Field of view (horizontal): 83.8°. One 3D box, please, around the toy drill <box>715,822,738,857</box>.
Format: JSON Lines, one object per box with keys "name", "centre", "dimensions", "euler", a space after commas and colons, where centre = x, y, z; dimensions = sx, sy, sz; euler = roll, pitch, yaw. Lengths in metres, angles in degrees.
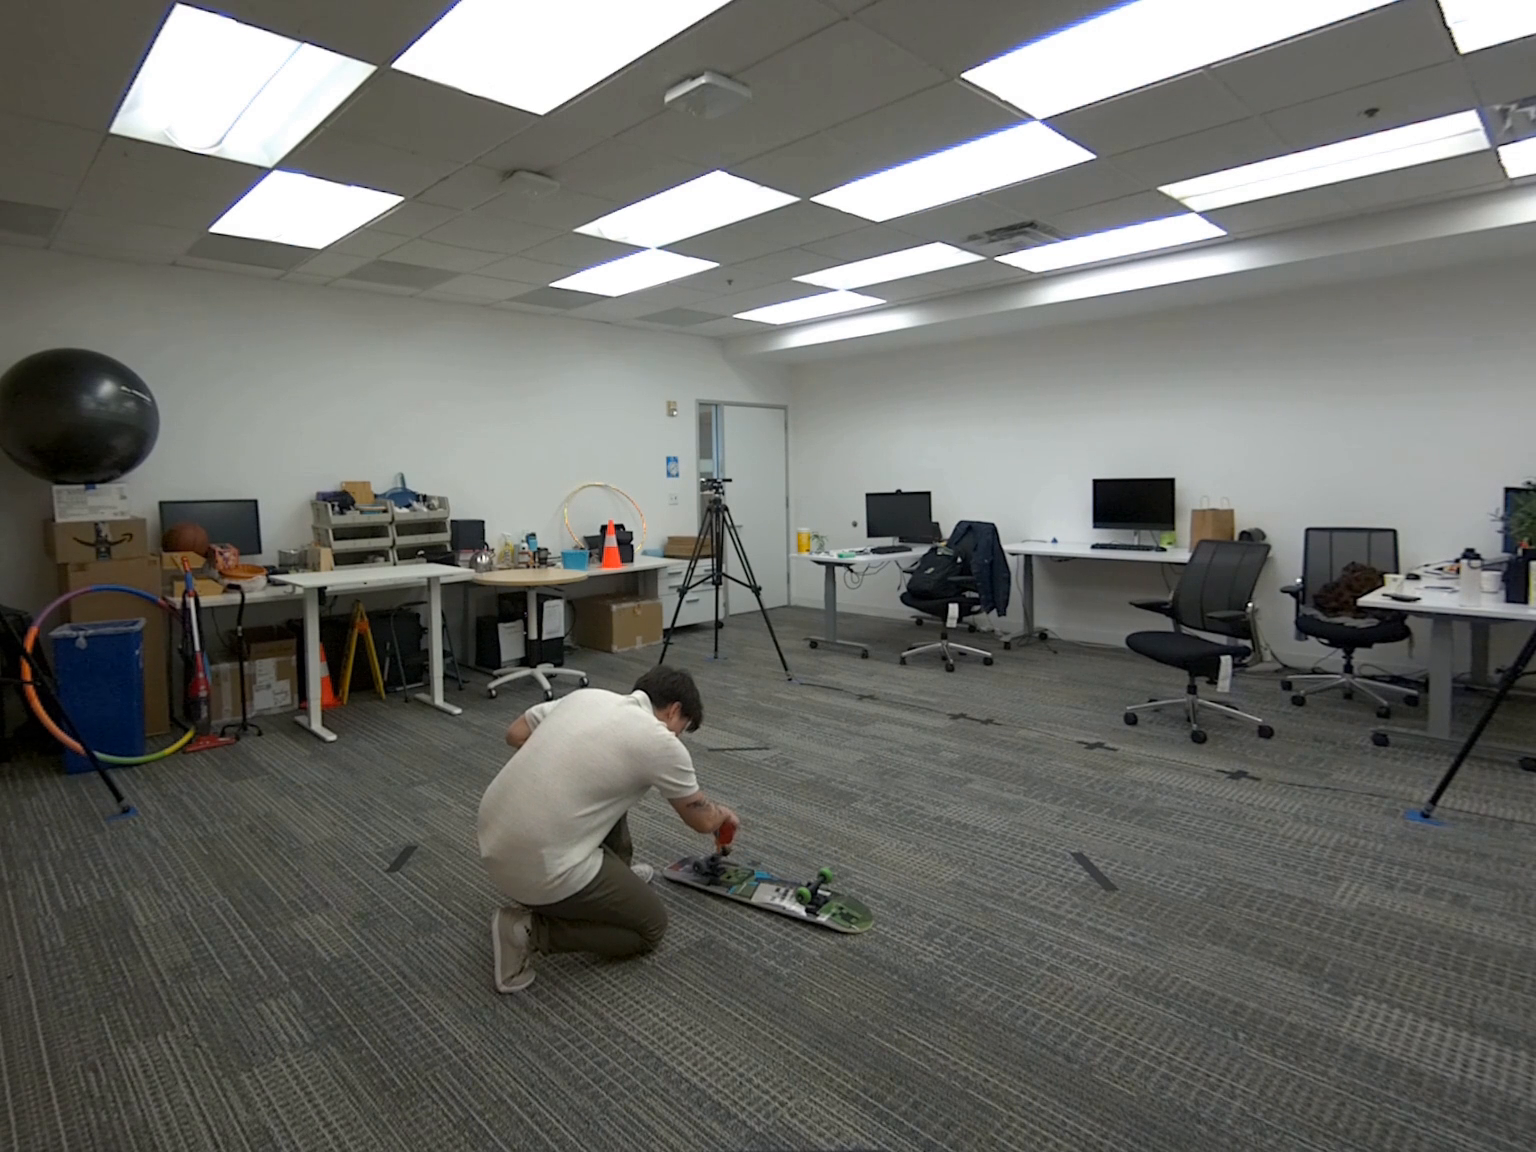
{"name": "toy drill", "centre": [-0.158, 0.892, 2.921], "dimensions": [0.061, 0.169, 0.147], "euler": [11, 4, -7]}
